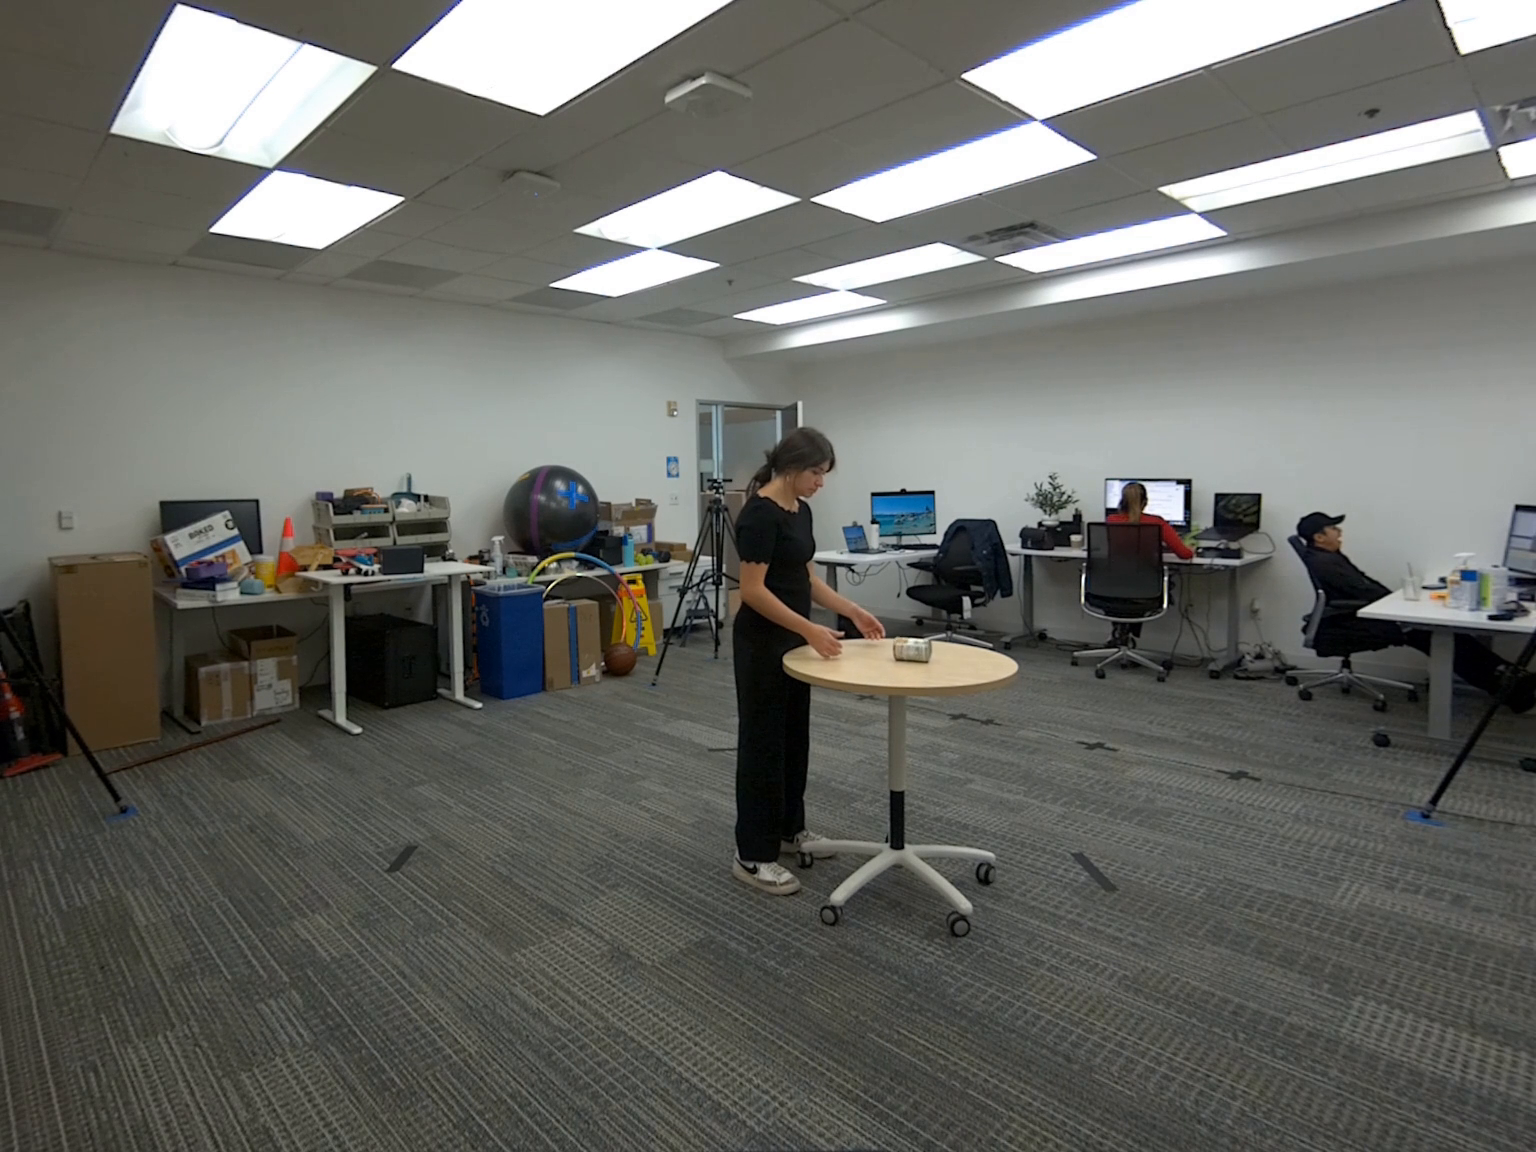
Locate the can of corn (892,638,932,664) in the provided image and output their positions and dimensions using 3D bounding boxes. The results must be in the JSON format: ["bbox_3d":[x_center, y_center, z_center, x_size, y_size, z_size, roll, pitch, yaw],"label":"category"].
[{"bbox_3d":[0.478,0.240,2.837,0.113,0.074,0.073,3,6,21],"label":"can of corn"}]
